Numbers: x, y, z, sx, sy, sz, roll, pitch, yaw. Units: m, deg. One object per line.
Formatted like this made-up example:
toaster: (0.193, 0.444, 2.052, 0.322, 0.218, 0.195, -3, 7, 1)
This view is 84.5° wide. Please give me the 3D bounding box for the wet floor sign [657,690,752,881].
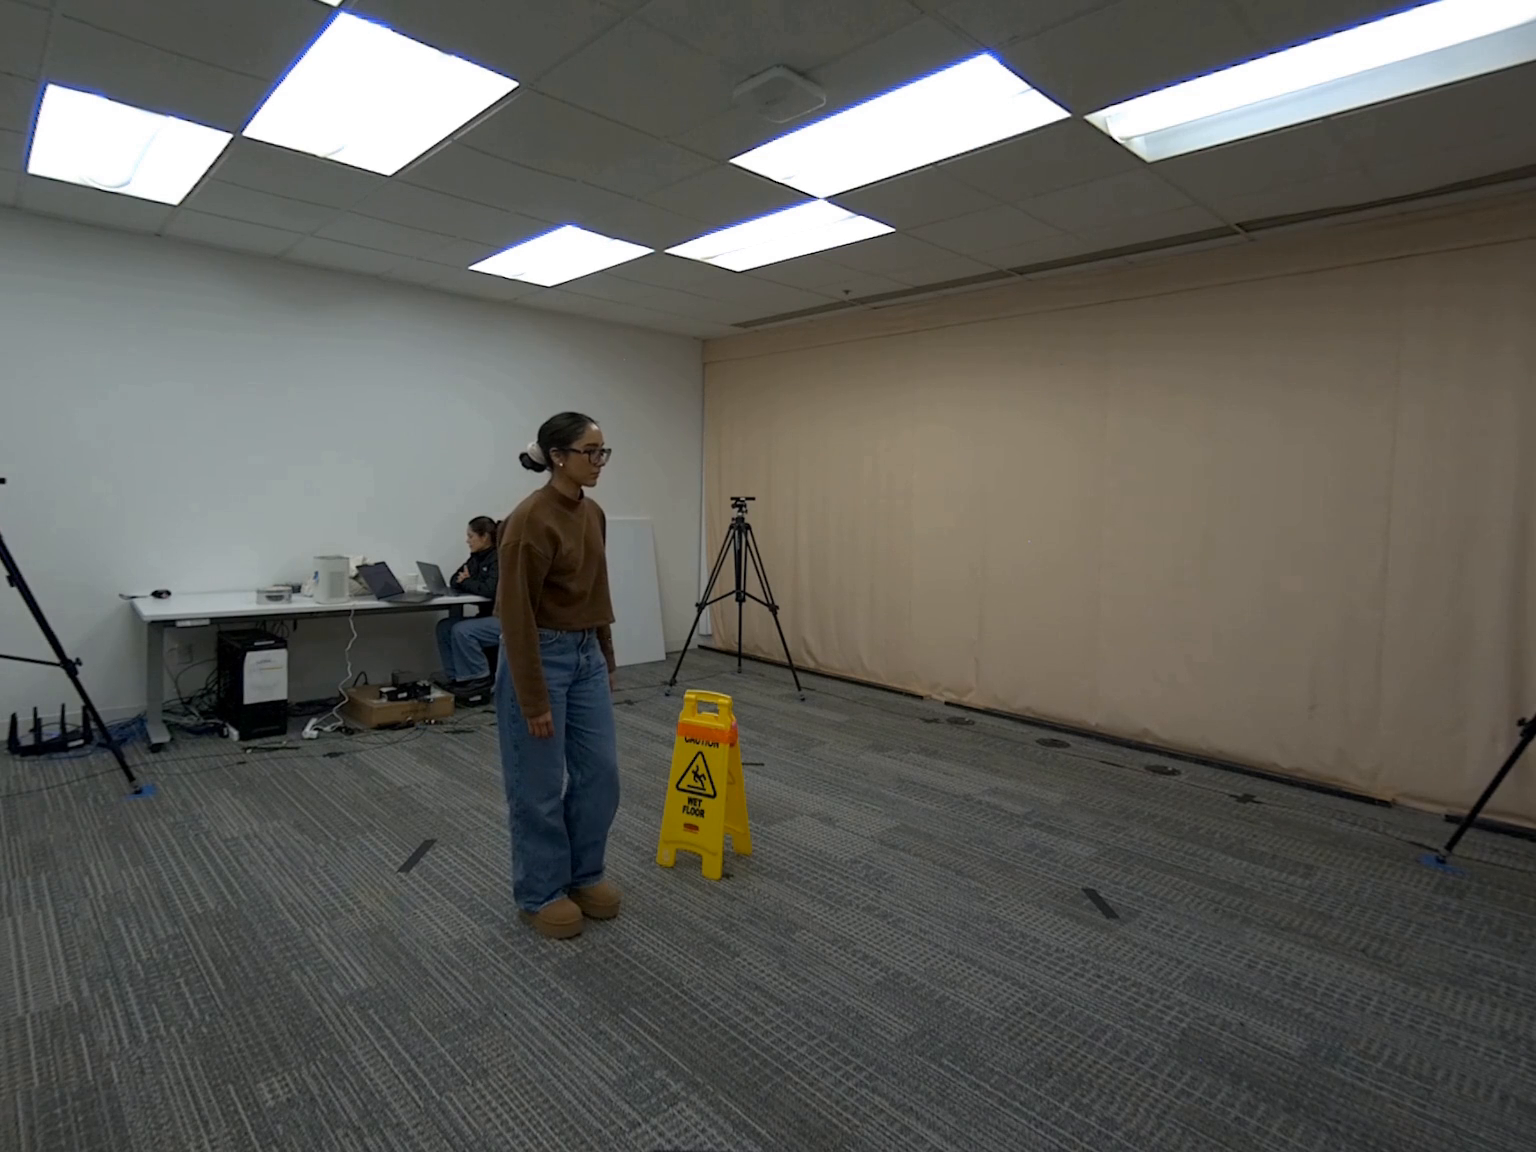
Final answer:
wet floor sign: (-0.246, 0.769, 3.226, 0.288, 0.644, 0.285, 2, 4, 26)
